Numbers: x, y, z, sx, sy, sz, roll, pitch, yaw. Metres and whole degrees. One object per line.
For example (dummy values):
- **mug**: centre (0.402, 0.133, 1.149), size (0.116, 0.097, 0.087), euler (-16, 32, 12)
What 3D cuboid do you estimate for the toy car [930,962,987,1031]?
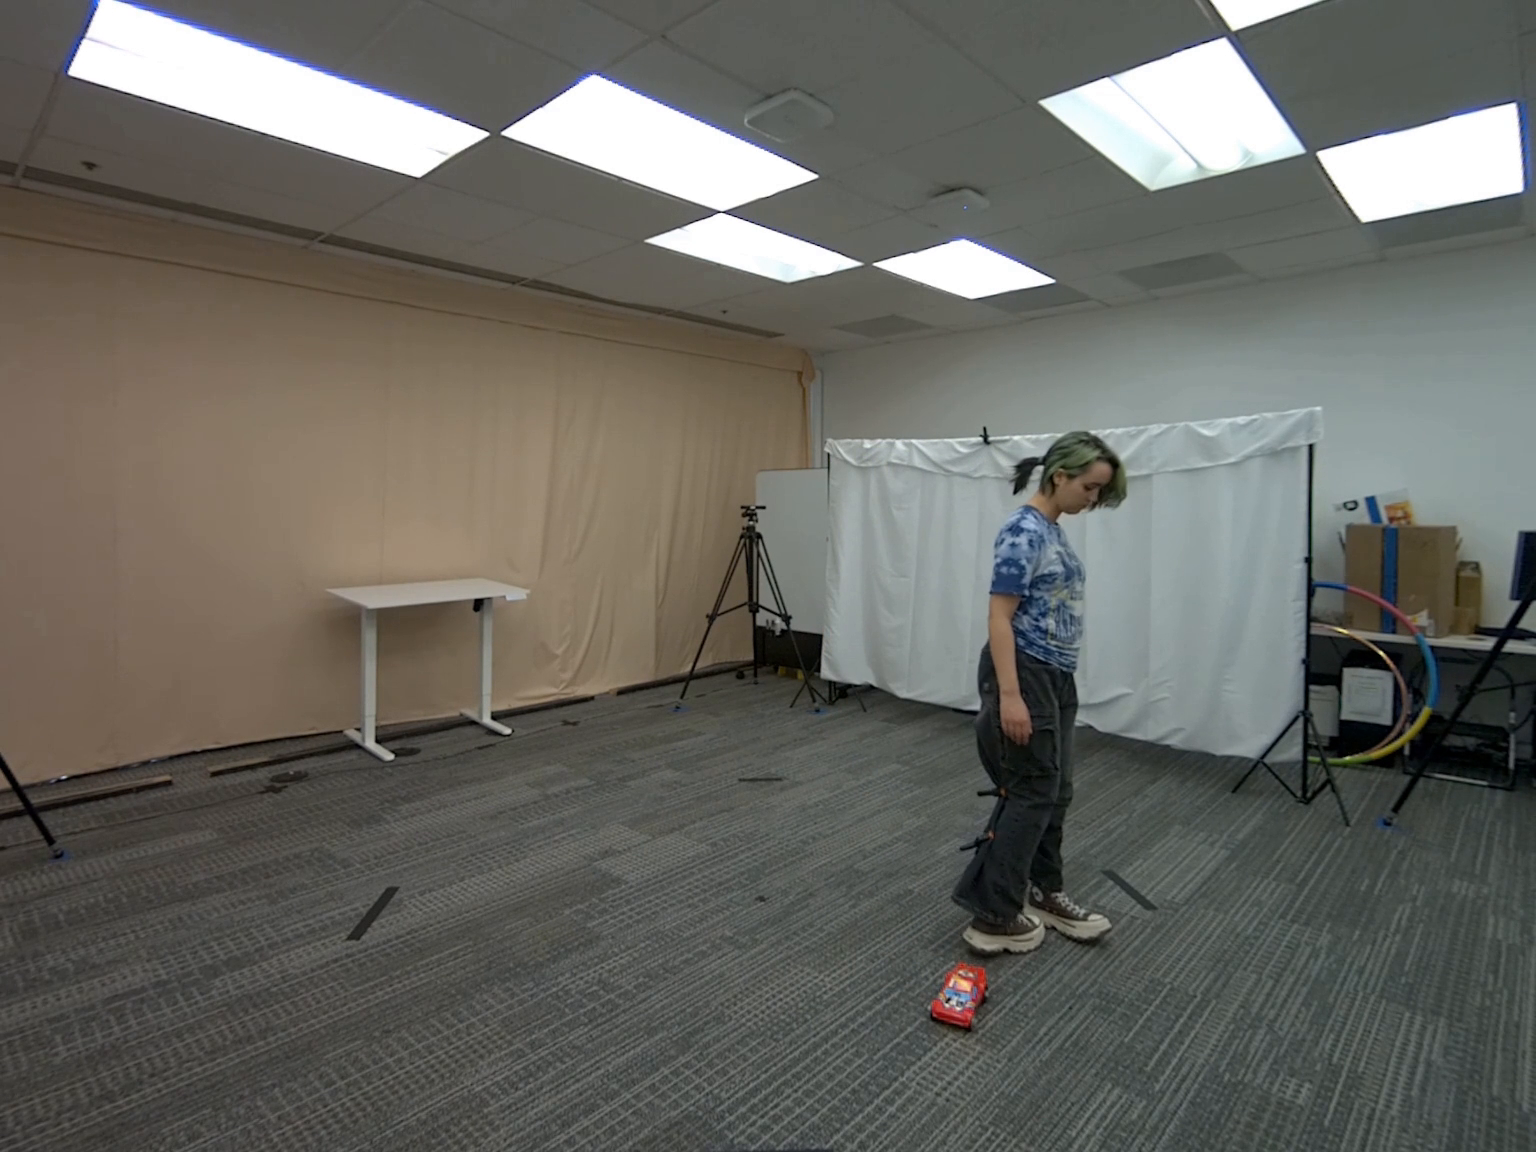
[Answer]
- **toy car**: centre (0.547, 1.166, 2.338), size (0.134, 0.082, 0.250), euler (1, 16, 29)
